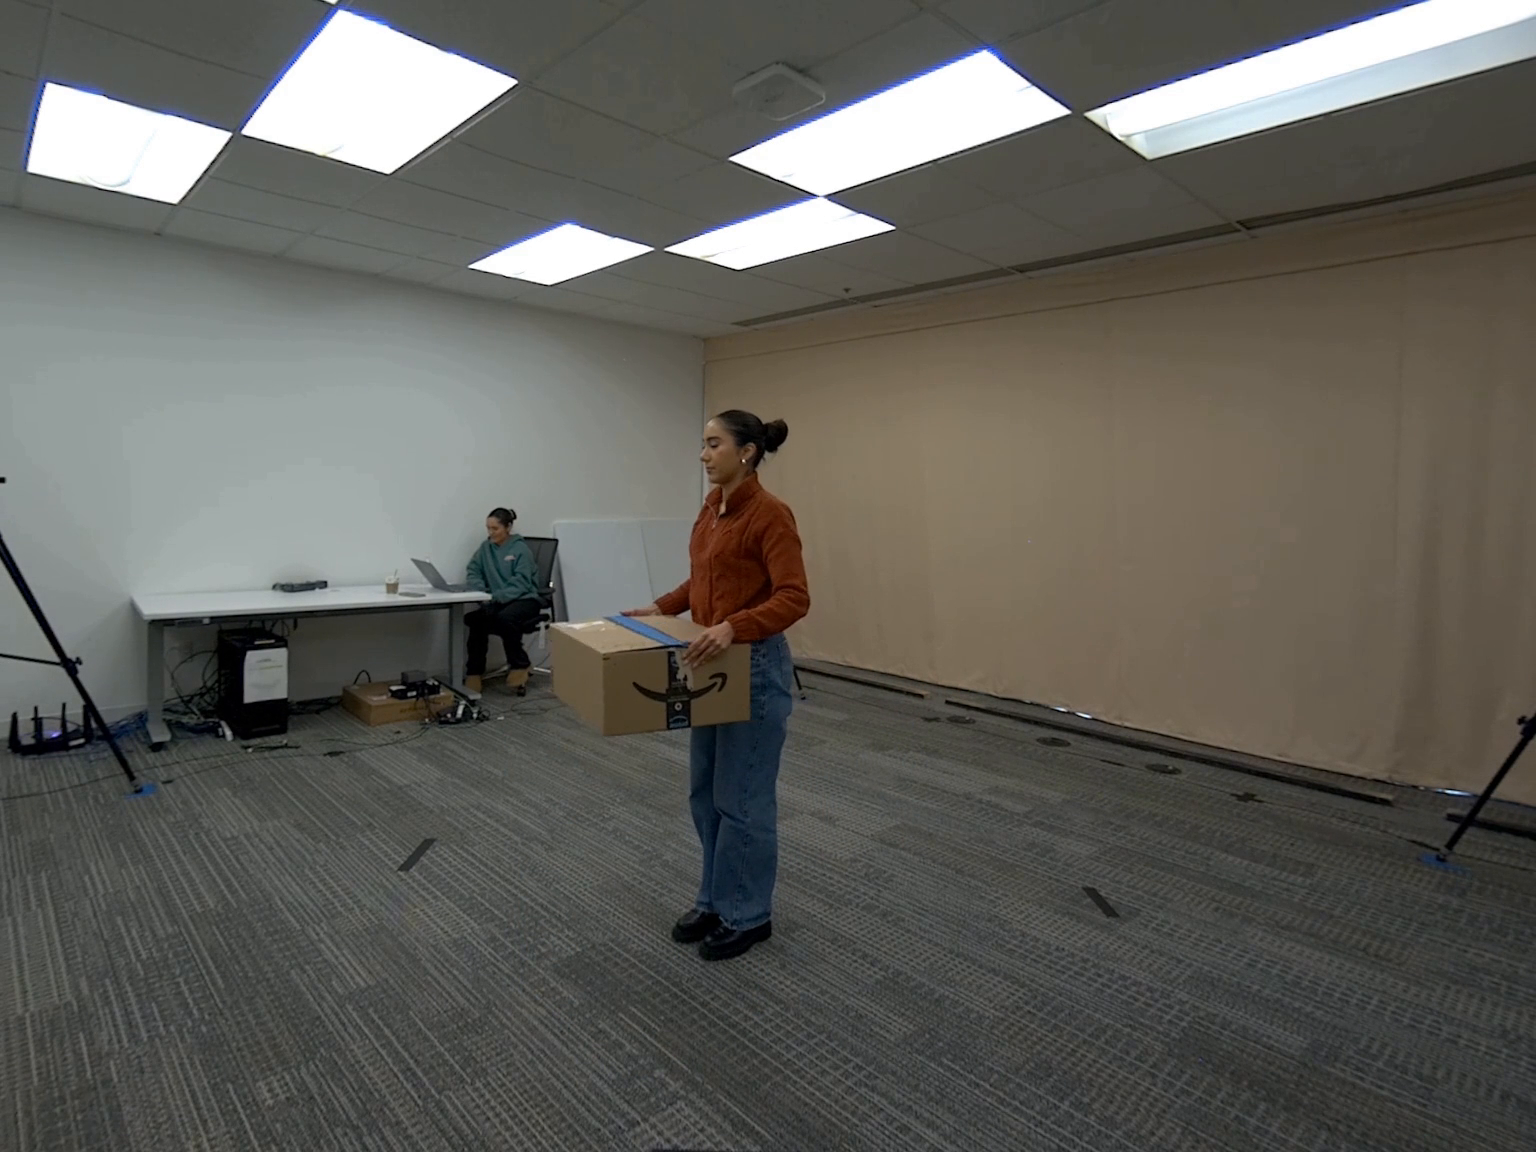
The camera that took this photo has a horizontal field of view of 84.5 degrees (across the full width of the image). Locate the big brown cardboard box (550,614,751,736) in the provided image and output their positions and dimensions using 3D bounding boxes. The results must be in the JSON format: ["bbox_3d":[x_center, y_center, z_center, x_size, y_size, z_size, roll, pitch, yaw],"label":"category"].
[{"bbox_3d":[-0.373,0.266,2.460,0.410,0.232,0.602,-2,7,-28],"label":"big brown cardboard box"}]
